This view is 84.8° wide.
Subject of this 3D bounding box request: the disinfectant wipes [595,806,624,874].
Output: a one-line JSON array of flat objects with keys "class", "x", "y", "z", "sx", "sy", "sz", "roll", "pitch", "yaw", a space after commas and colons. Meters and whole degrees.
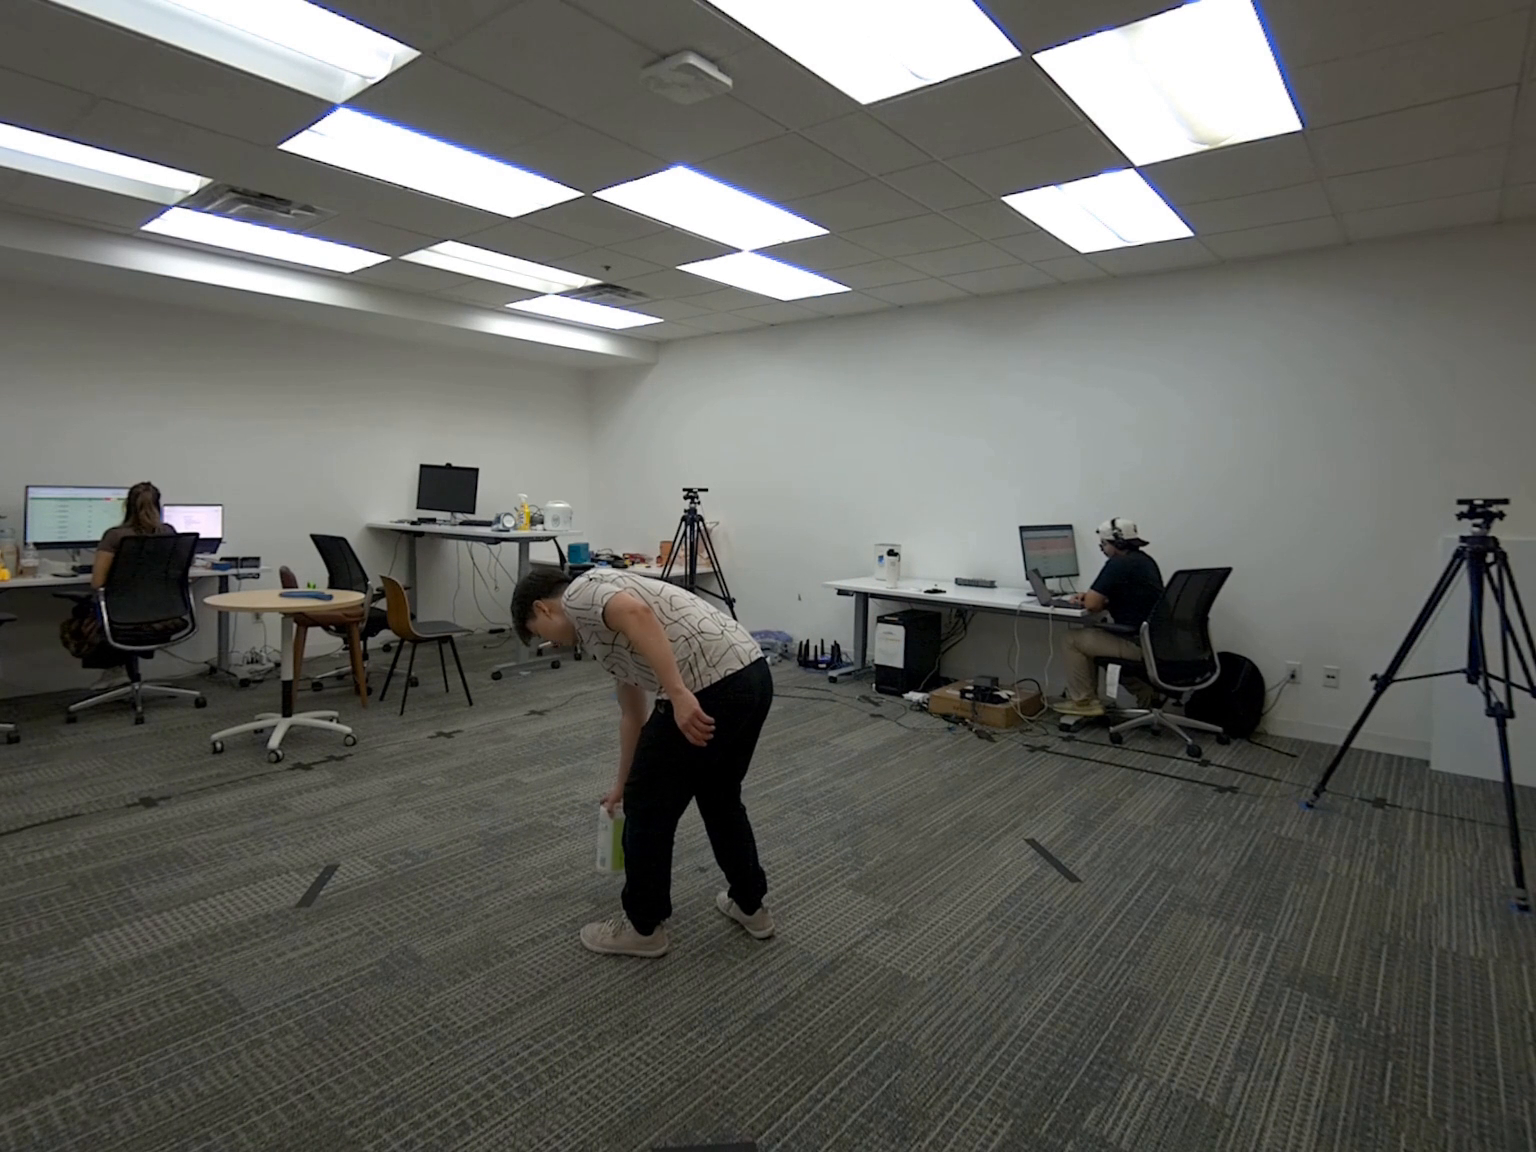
[{"class": "disinfectant wipes", "x": -0.538, "y": 0.884, "z": 2.877, "sx": 0.118, "sy": 0.218, "sz": 0.118, "roll": 3, "pitch": -1, "yaw": -2}]
